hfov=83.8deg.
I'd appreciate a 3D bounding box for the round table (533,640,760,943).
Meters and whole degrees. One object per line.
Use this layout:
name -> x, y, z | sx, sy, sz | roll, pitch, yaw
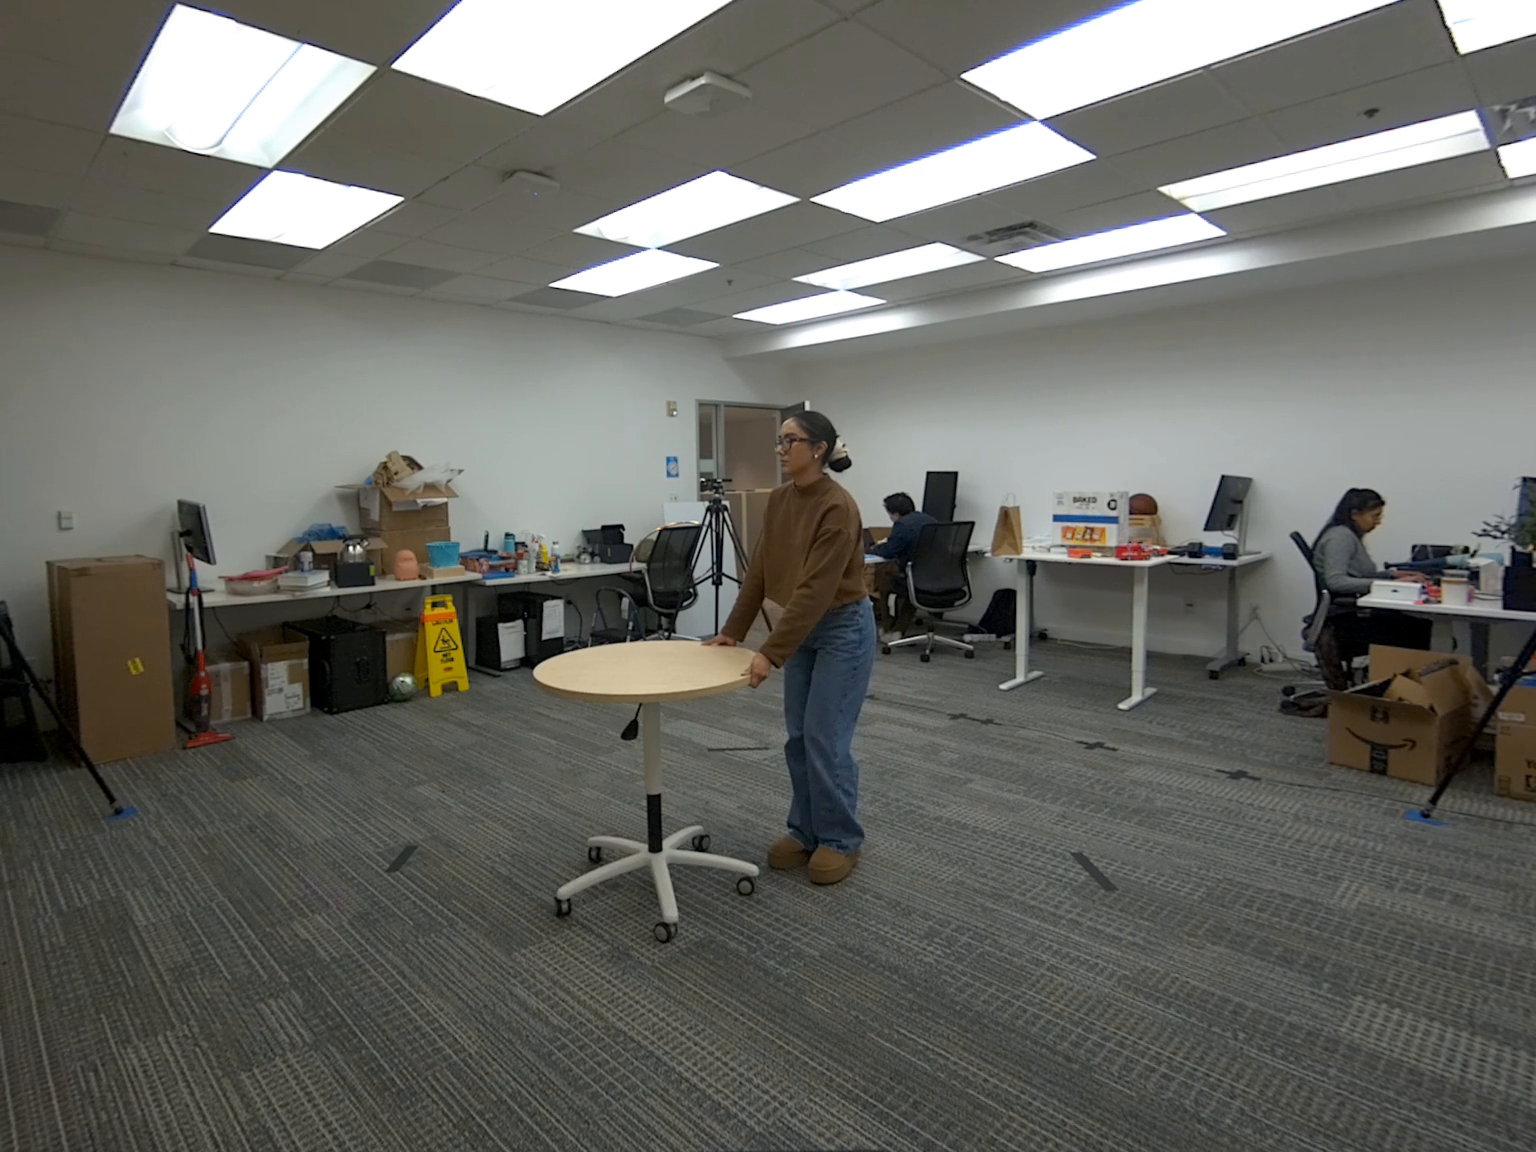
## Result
round table -> -0.372, 0.680, 2.898 | 0.784, 0.783, 0.790 | -1, 6, -2
